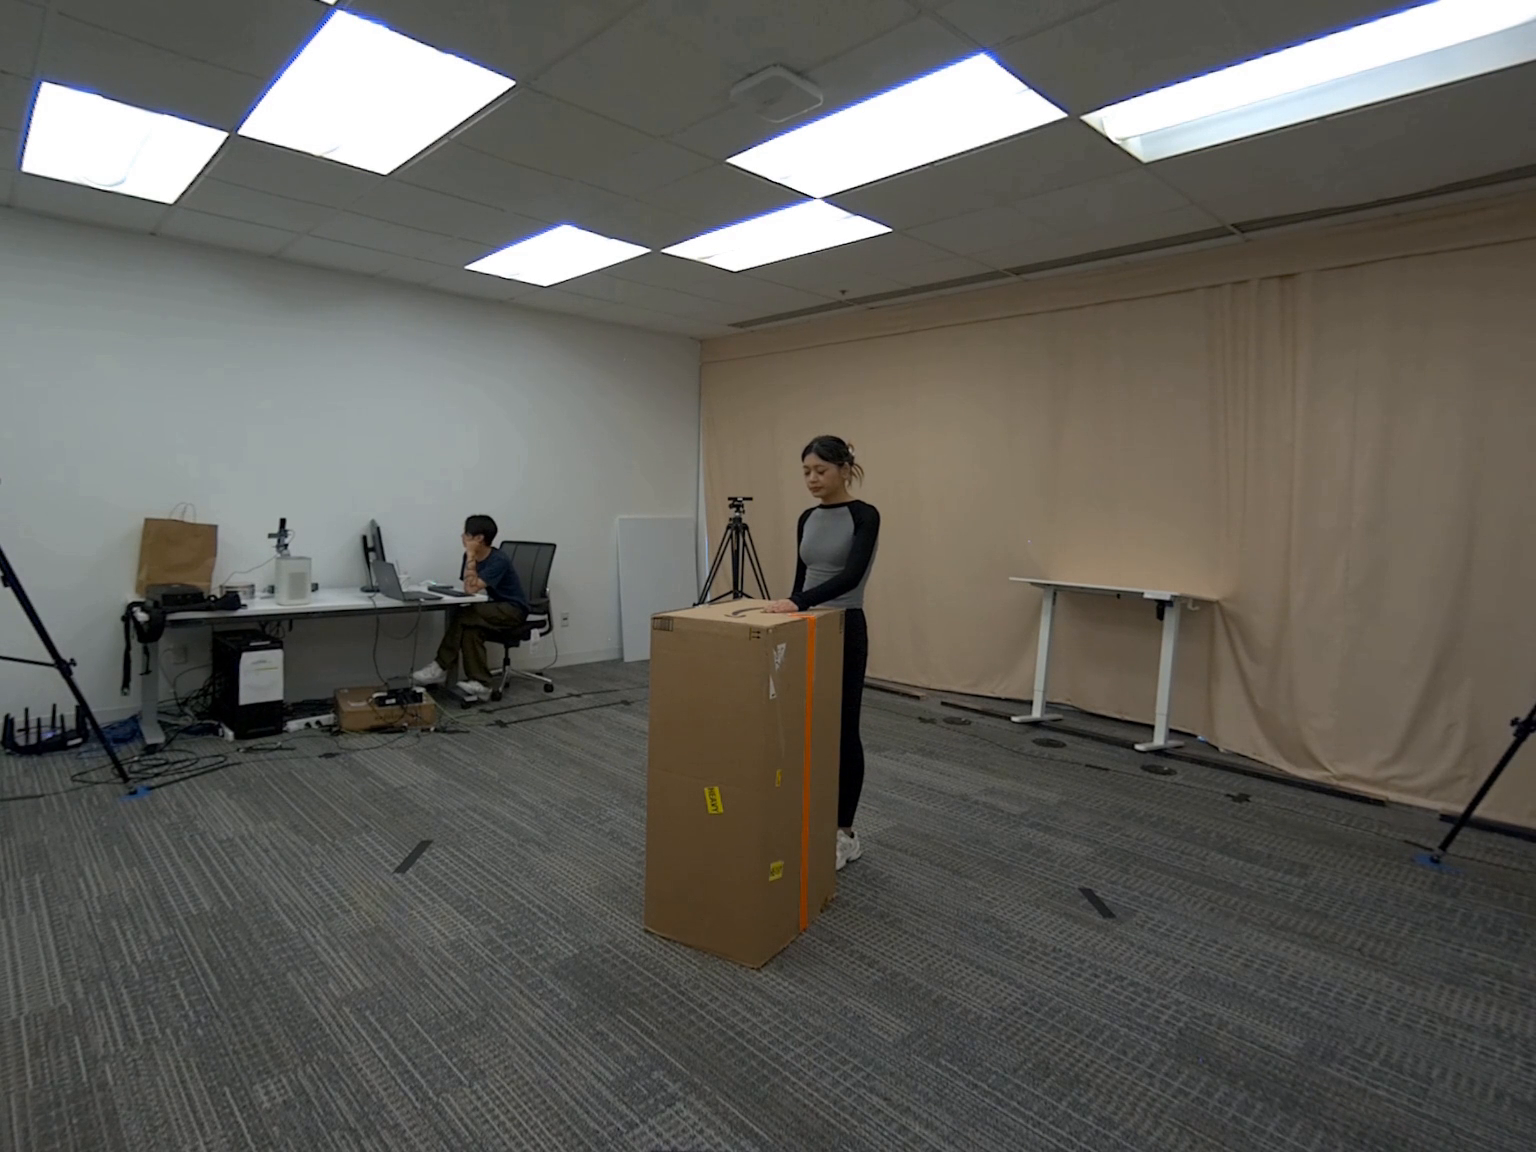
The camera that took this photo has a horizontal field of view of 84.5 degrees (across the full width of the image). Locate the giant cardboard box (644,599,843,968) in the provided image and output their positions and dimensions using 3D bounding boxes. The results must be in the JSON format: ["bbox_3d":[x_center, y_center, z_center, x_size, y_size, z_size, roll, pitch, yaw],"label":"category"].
[{"bbox_3d":[-0.069,0.632,2.804,0.456,1.025,0.573,2,3,28],"label":"giant cardboard box"}]
